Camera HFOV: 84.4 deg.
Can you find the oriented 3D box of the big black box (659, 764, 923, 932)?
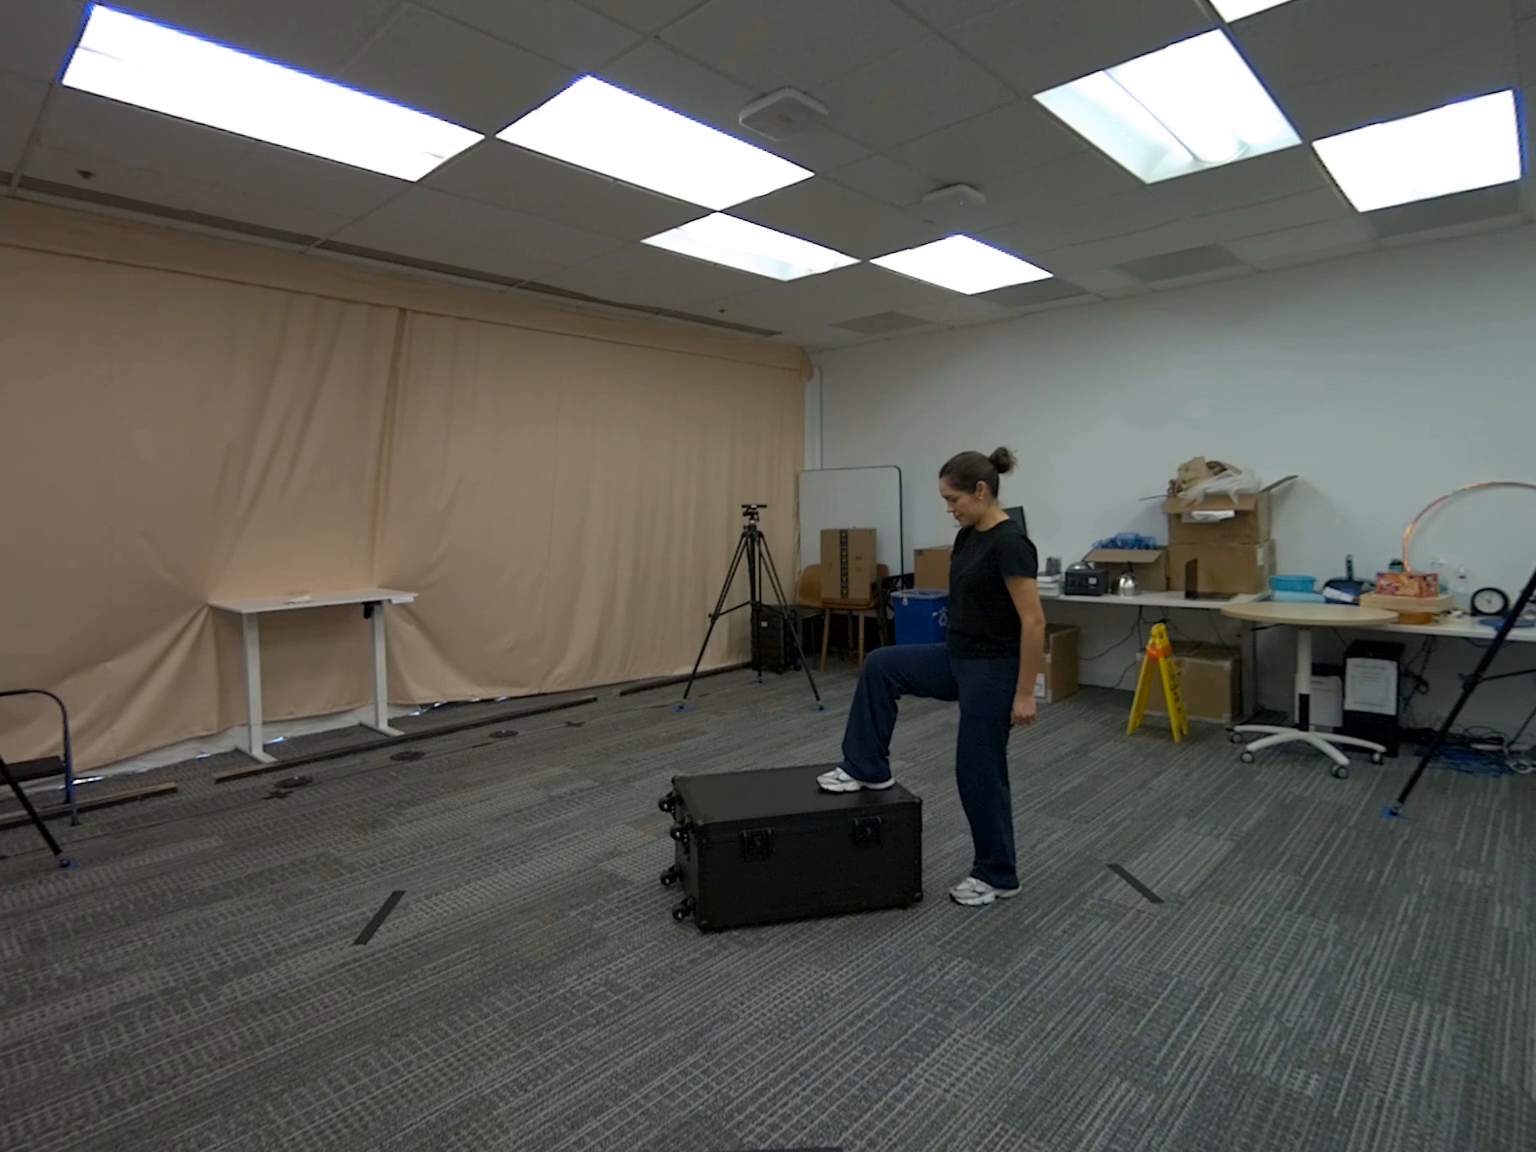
[{"bbox_3d":[0.068,0.941,3.018,0.849,0.395,0.530,-2,4,-14],"label":"big black box"}]
